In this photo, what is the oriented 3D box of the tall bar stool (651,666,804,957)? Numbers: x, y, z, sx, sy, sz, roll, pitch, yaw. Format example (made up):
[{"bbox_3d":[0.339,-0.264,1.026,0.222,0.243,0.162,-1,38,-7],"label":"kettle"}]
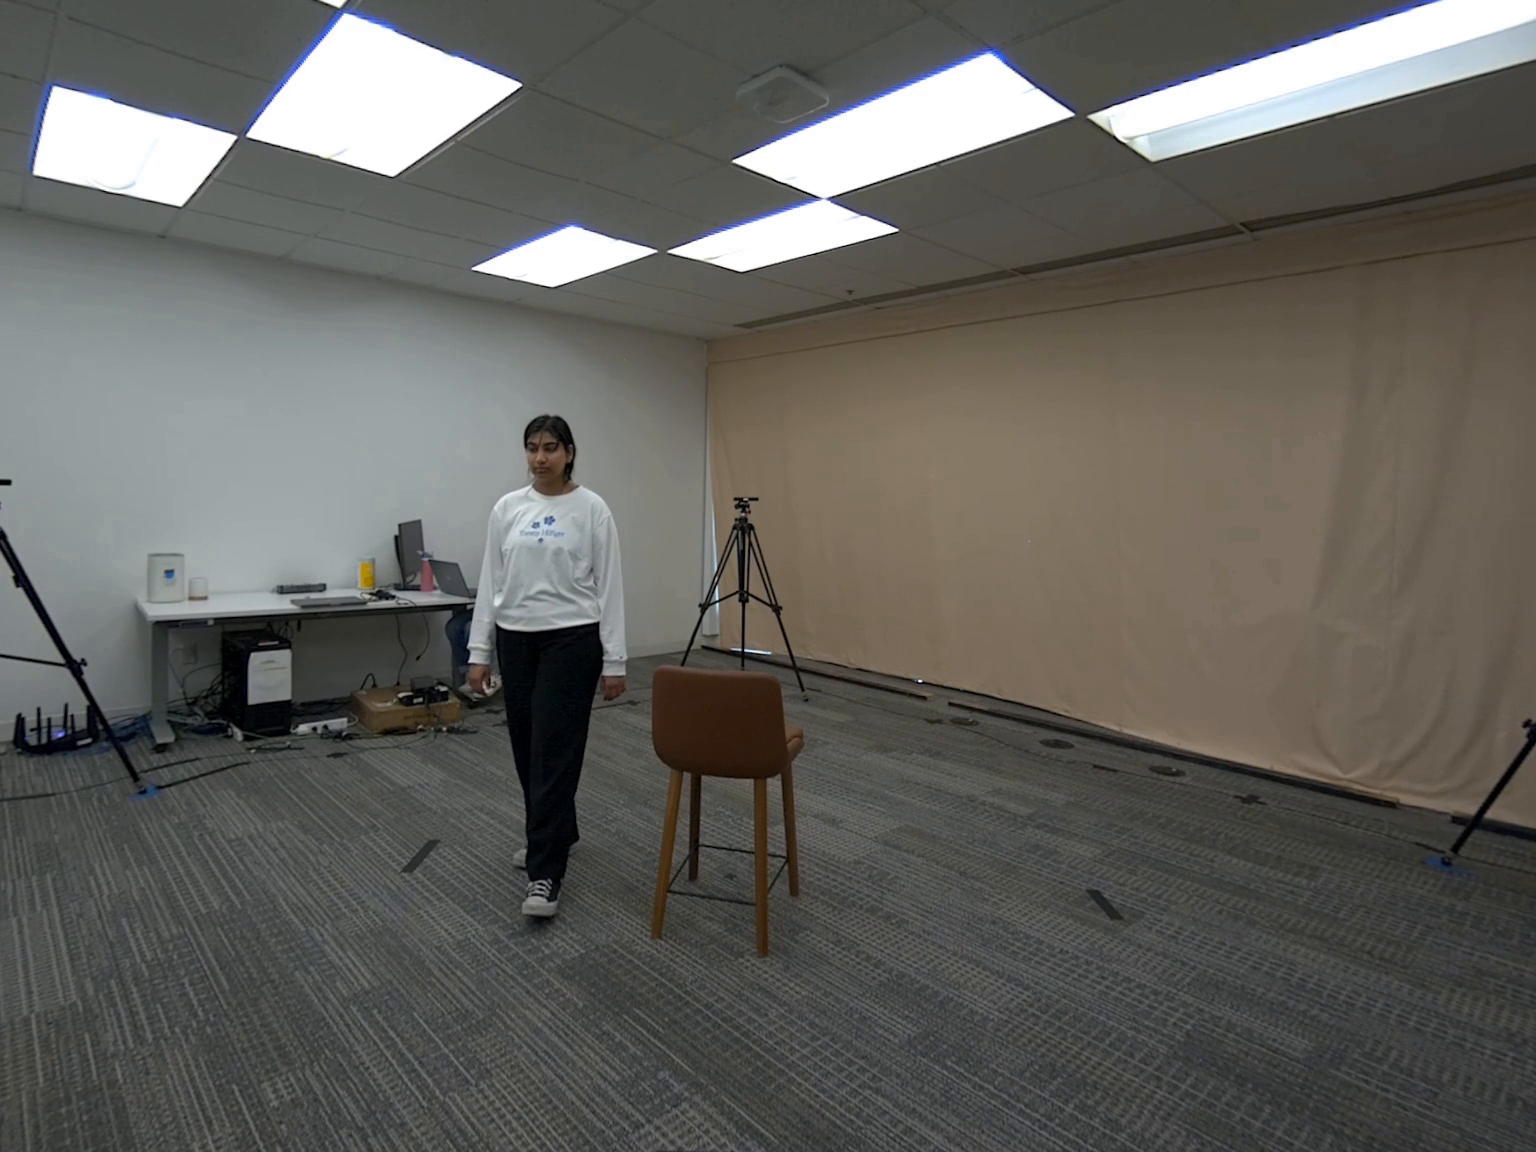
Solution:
[{"bbox_3d":[-0.132,0.706,2.786,0.462,0.886,0.463,2,5,16],"label":"tall bar stool"}]
